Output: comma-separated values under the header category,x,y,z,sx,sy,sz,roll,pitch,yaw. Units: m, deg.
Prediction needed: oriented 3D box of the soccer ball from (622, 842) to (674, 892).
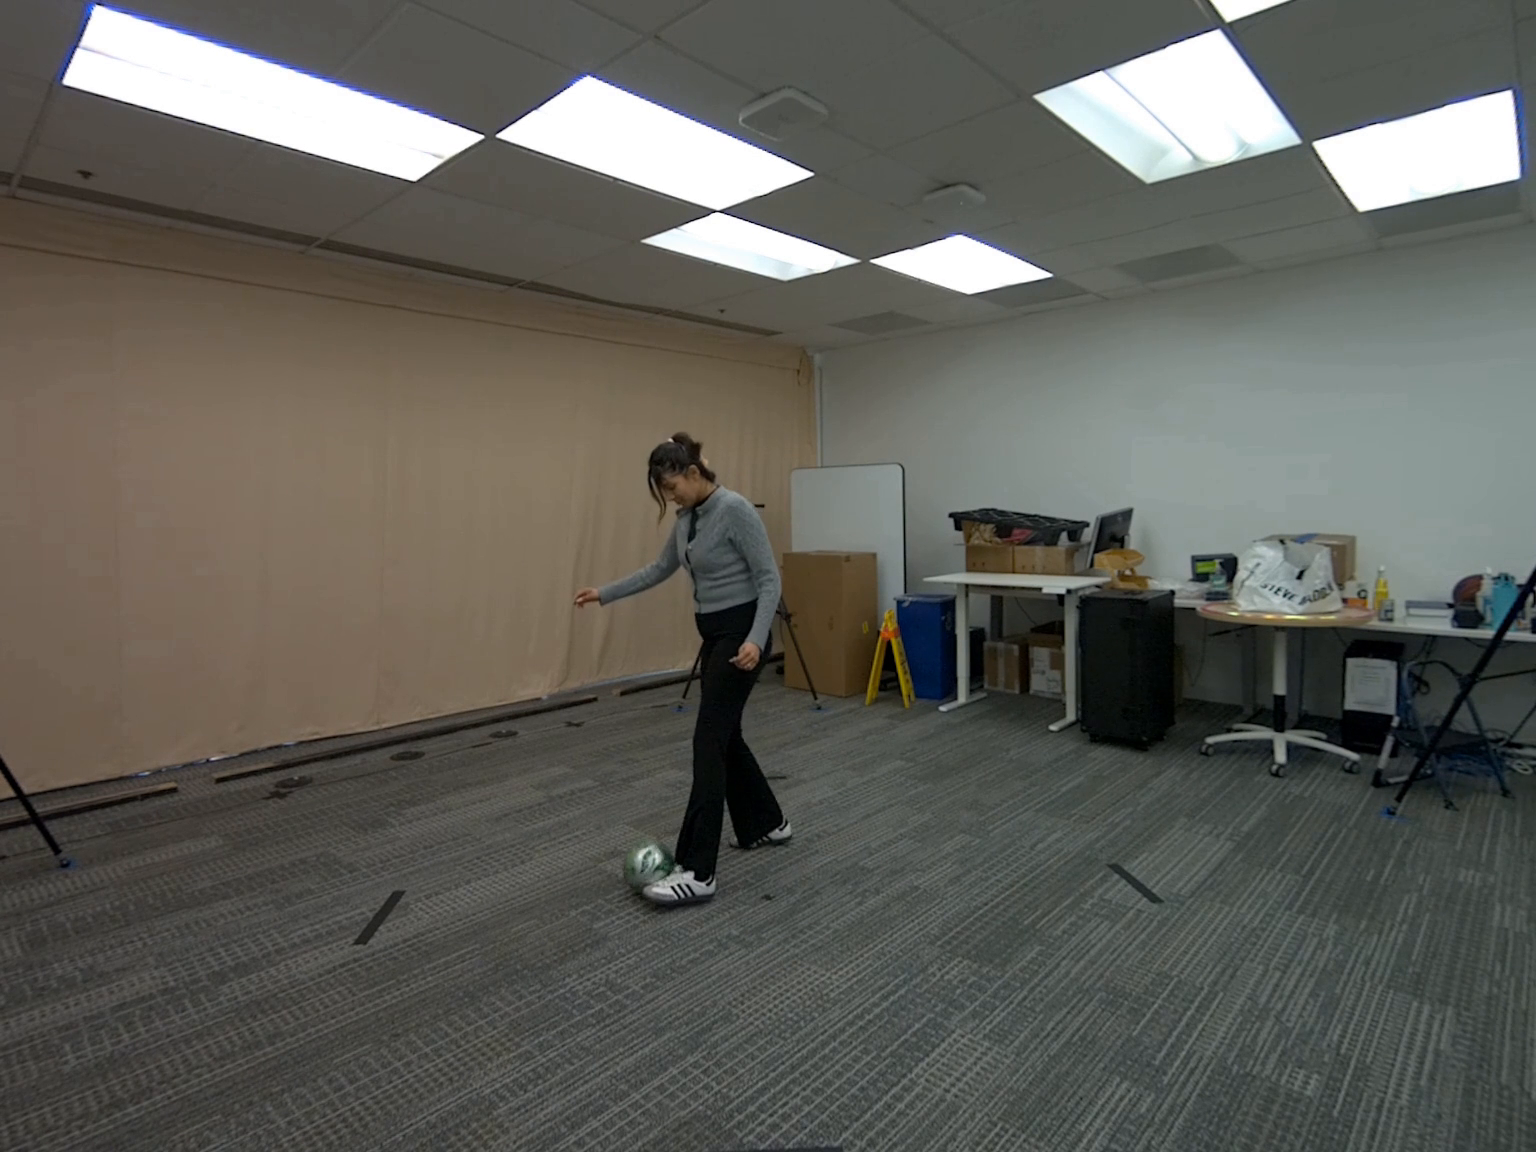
category,x,y,z,sx,sy,sz,roll,pitch,yaw
soccer ball,-0.434,1.049,3.066,0.187,0.187,0.188,-1,4,-2
